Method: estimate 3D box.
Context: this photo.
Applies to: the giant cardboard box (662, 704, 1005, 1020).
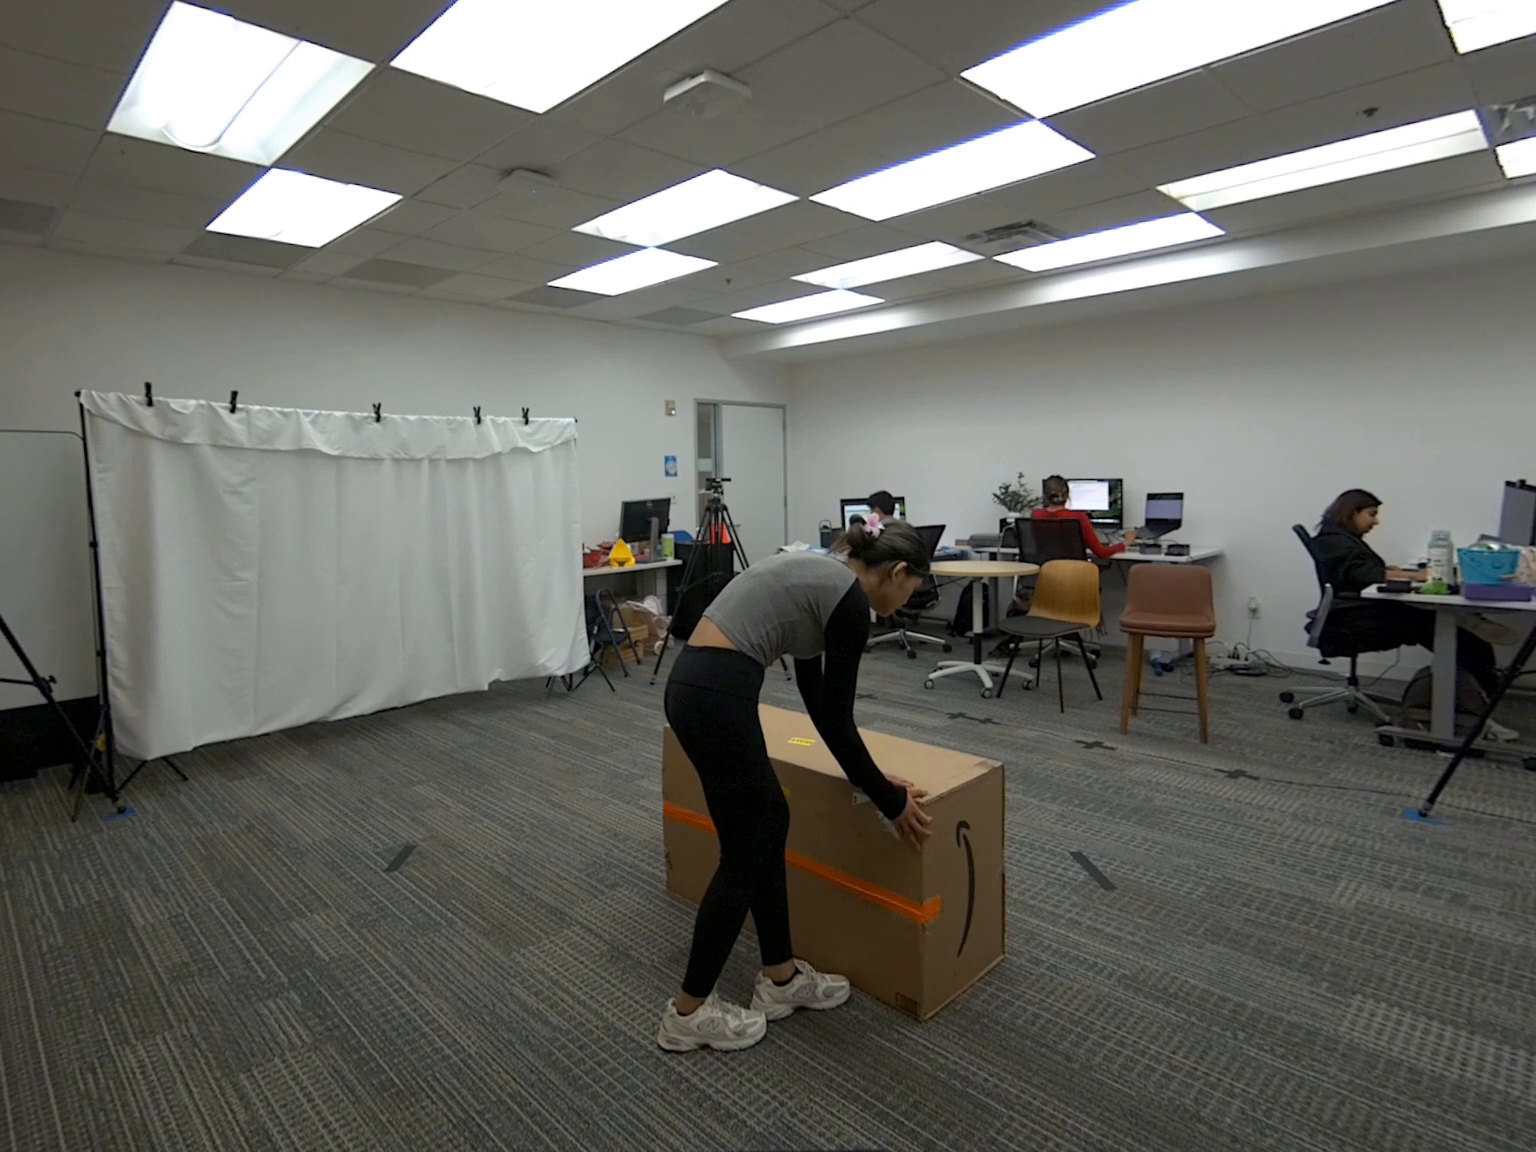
[{"bbox_3d":[0.166,0.801,2.677,1.059,0.581,0.435,4,8,44],"label":"giant cardboard box"}]
